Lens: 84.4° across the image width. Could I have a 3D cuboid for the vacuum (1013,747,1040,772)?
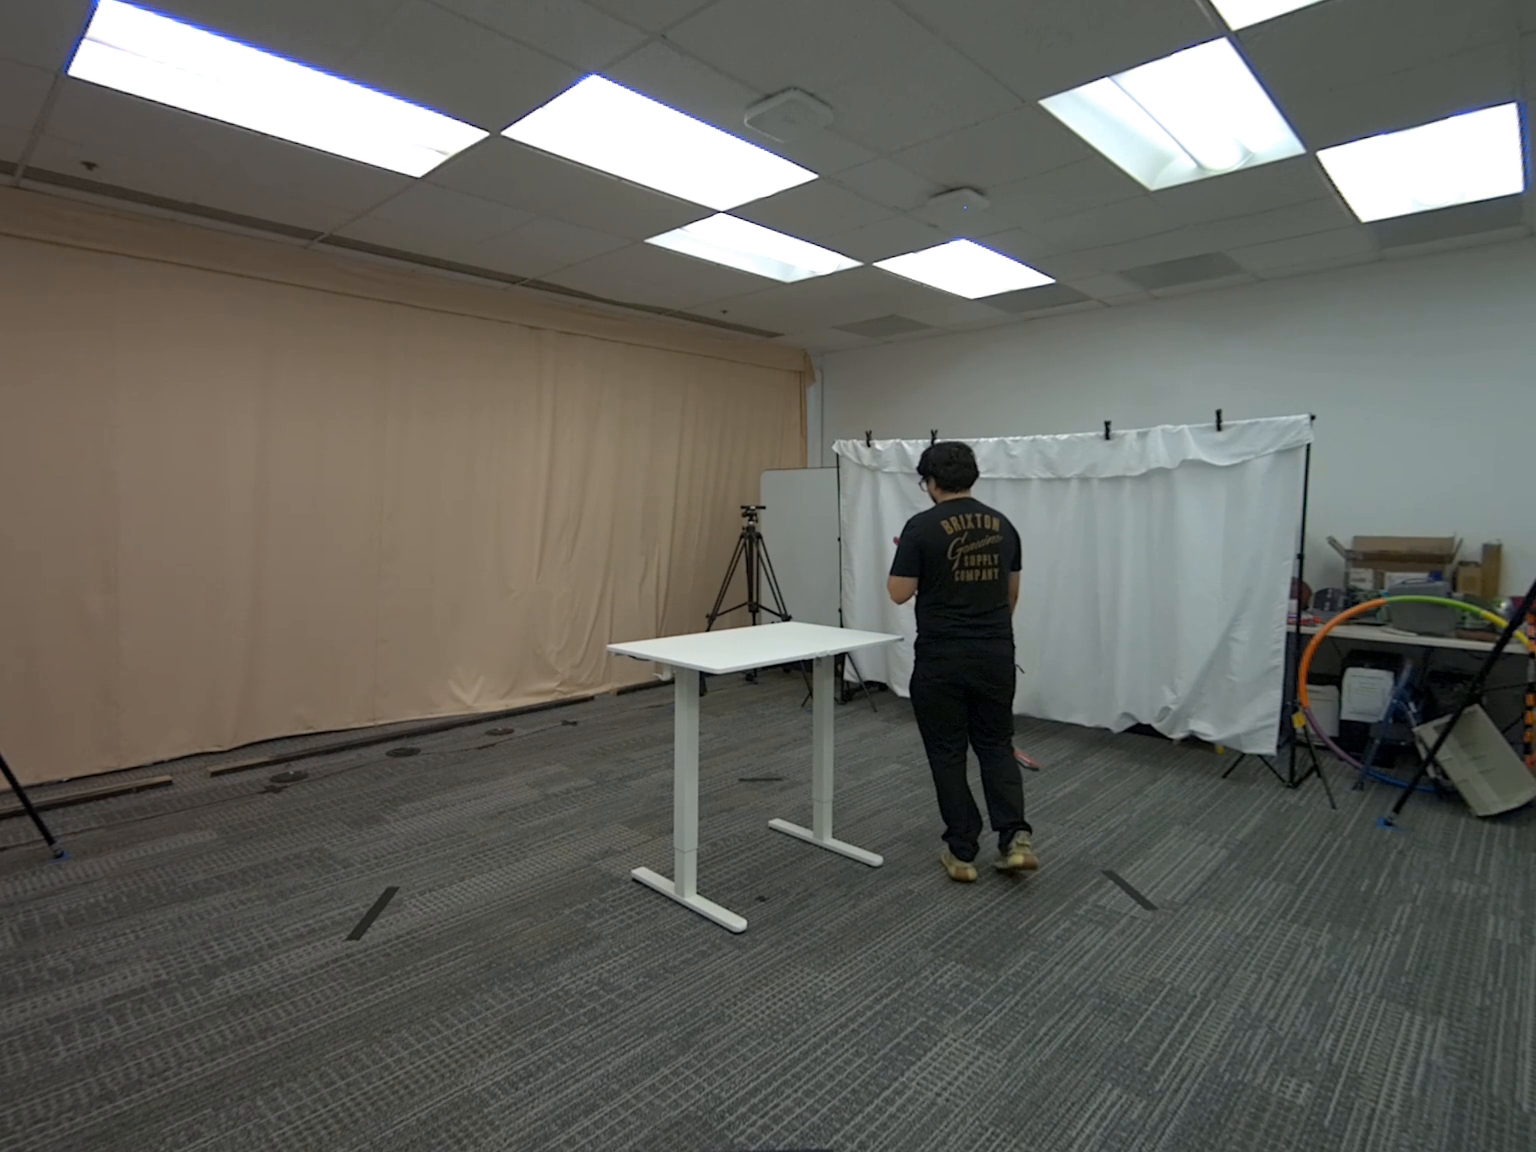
[{"bbox_3d":[0.769,0.307,3.469,0.144,1.044,0.253,-28,5,3],"label":"vacuum"}]
